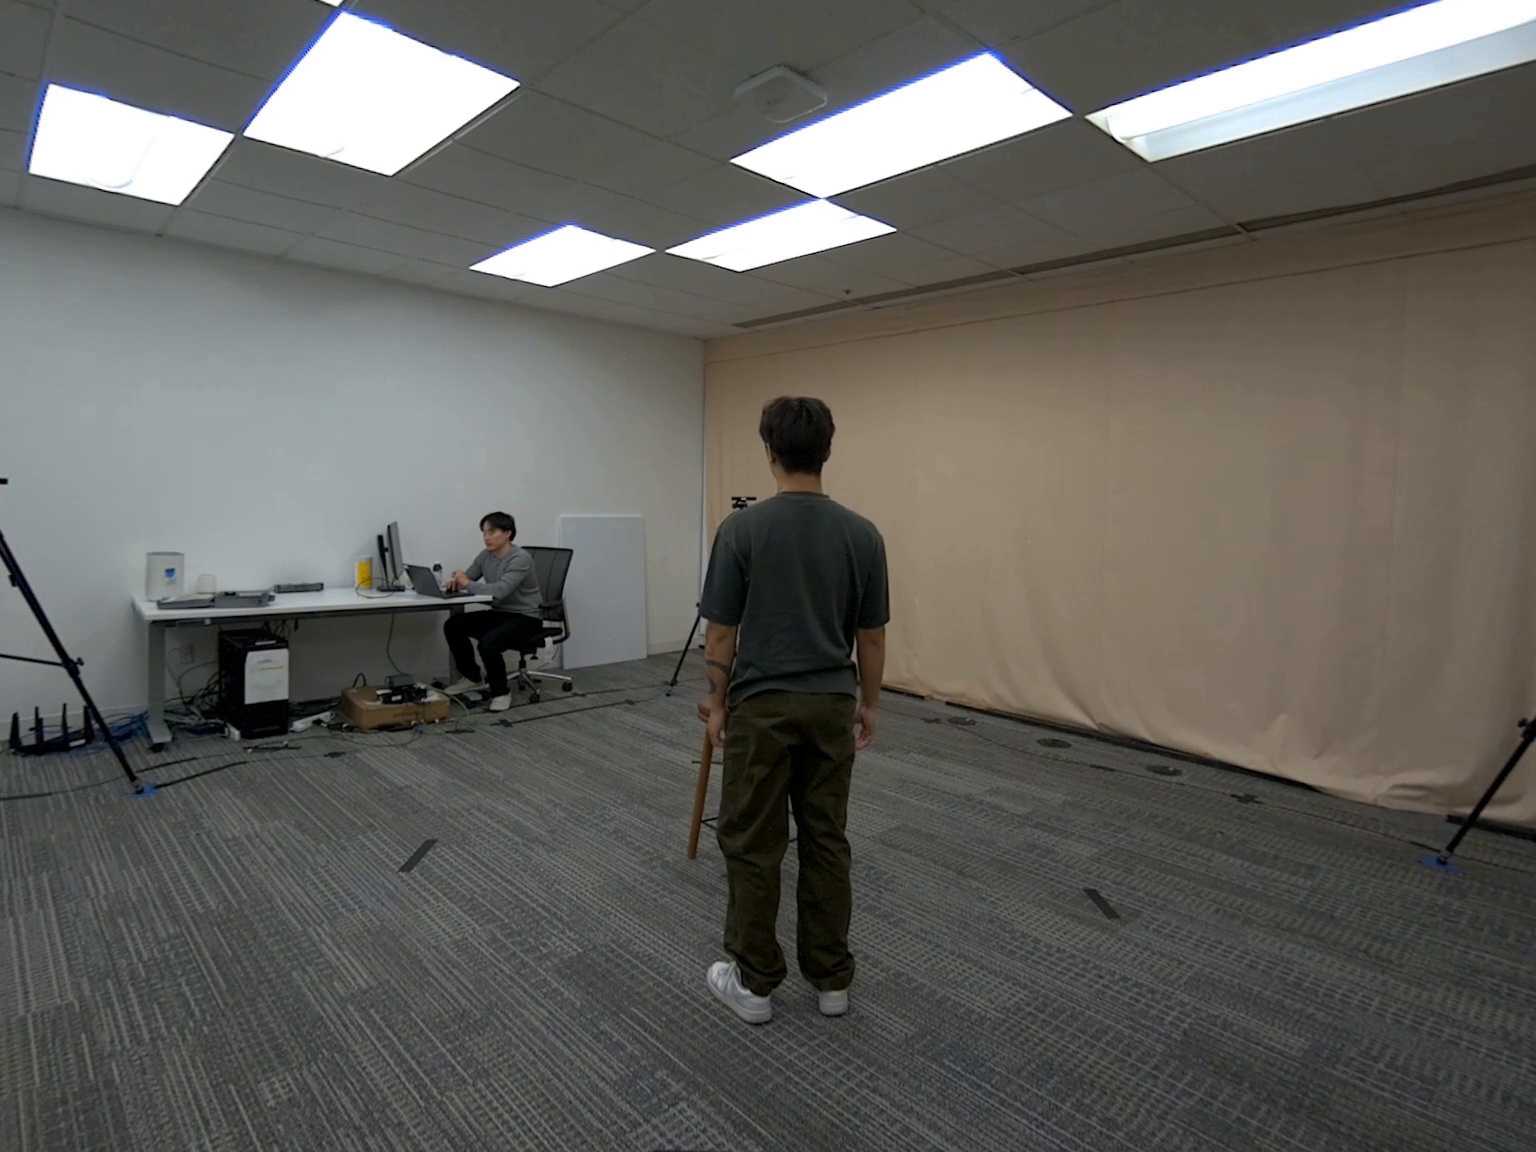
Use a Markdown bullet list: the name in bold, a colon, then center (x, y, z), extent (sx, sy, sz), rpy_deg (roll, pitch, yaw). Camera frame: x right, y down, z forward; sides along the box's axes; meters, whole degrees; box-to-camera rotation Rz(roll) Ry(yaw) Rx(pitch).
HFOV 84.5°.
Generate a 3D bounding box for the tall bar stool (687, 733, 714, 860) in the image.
- **tall bar stool**: center (-0.001, 0.667, 3.219), extent (0.456, 0.888, 0.468), rpy_deg (1, 3, -39)
